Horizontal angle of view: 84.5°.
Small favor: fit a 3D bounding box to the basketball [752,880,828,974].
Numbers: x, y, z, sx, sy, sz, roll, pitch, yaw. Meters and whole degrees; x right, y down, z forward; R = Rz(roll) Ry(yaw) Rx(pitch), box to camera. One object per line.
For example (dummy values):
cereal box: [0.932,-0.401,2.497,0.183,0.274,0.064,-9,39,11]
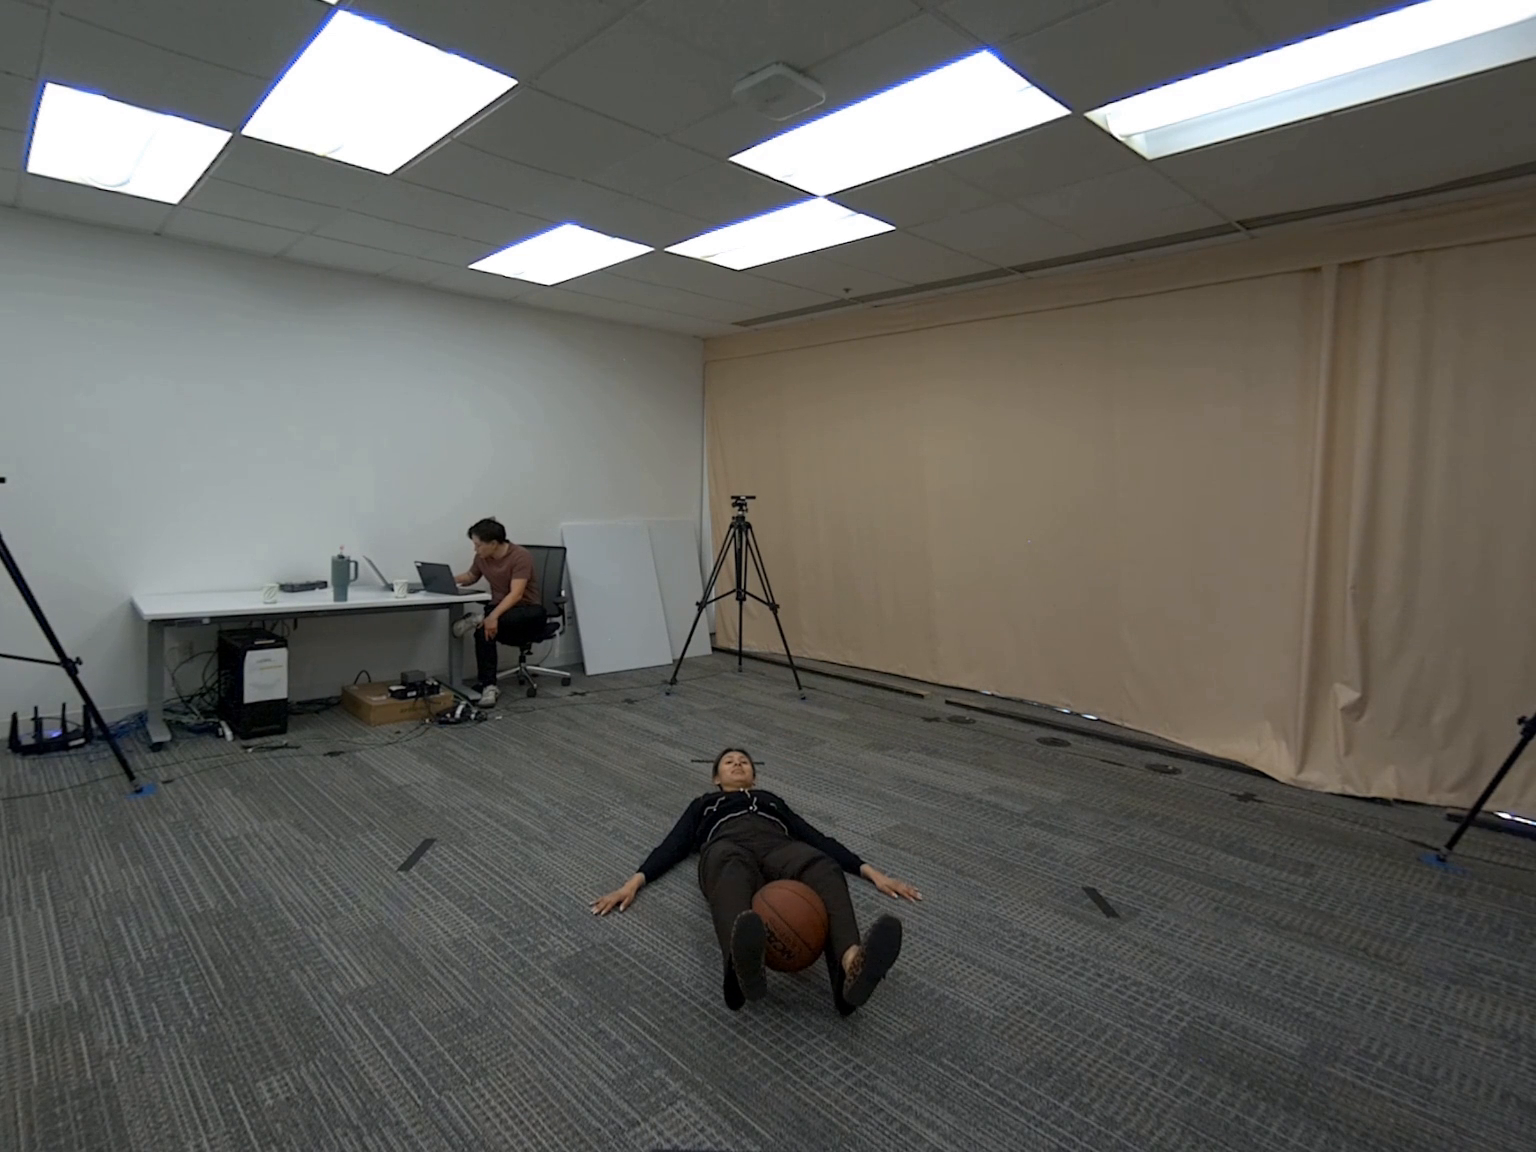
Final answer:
basketball: [0.050,0.975,2.348,0.236,0.235,0.237,1,4,-1]
